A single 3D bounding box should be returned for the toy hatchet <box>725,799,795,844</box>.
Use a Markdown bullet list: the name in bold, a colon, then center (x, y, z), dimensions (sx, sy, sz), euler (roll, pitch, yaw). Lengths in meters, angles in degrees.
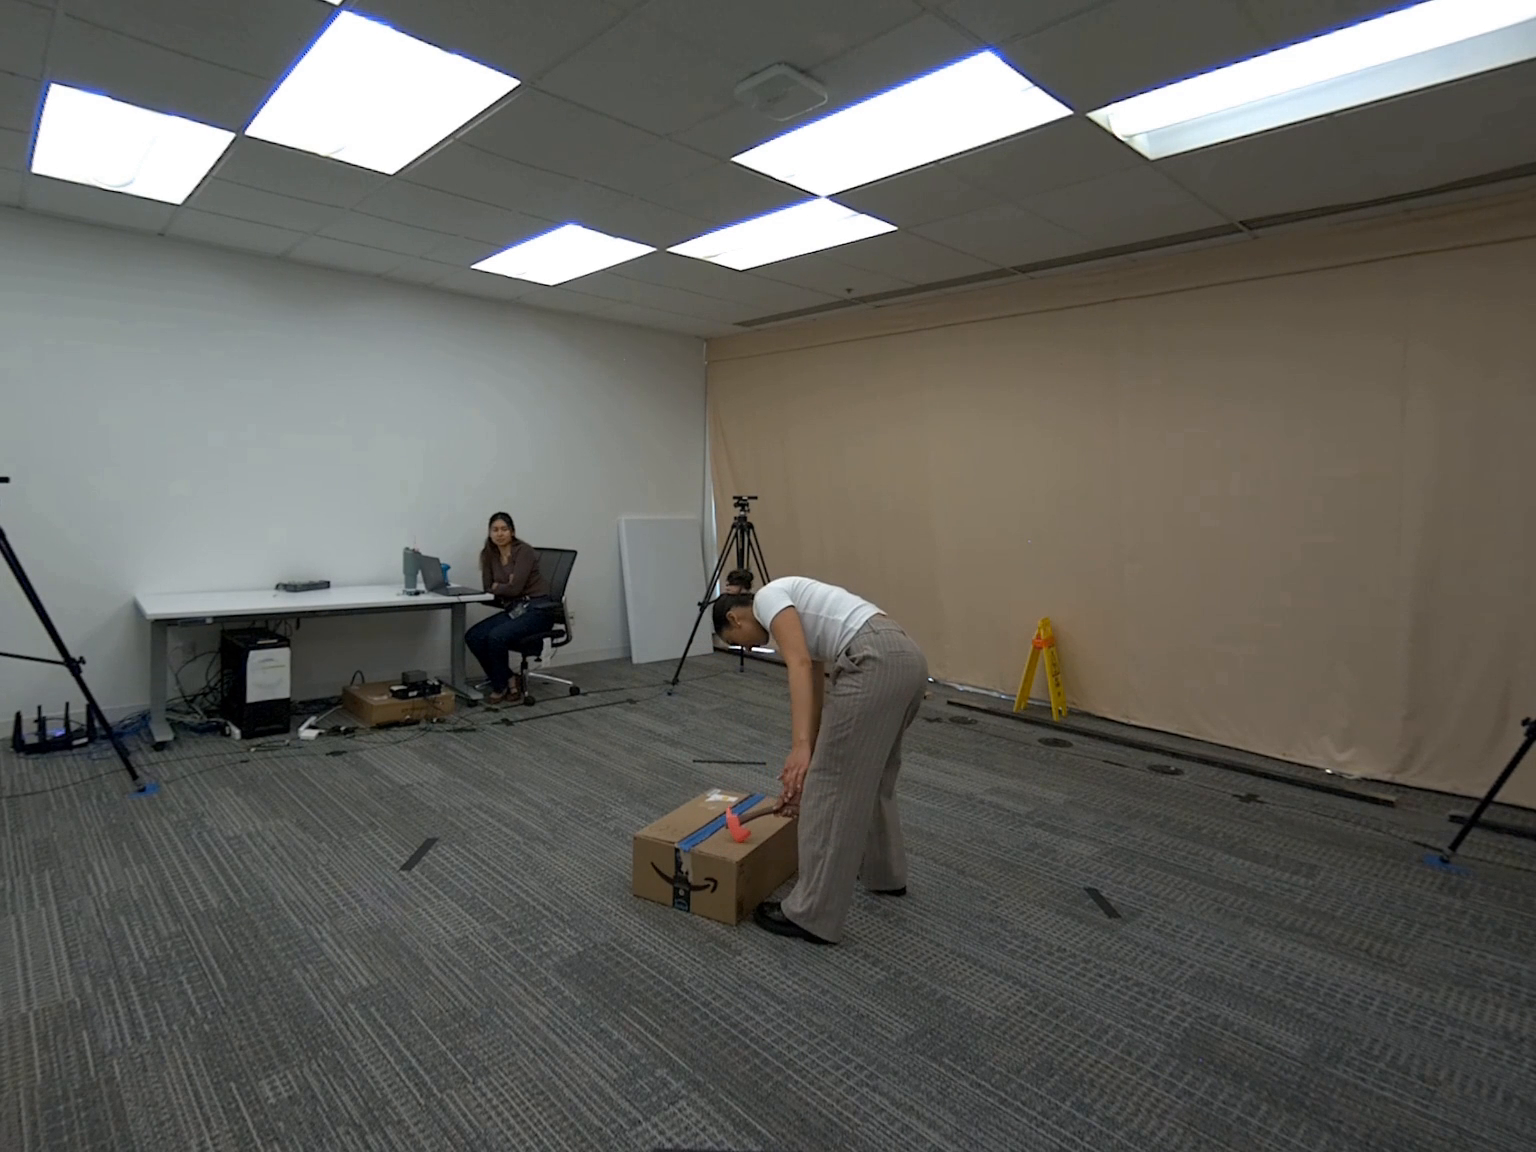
- **toy hatchet**: center (-0.018, 0.853, 2.881), dimensions (0.272, 0.134, 0.029), euler (-3, -41, 9)
